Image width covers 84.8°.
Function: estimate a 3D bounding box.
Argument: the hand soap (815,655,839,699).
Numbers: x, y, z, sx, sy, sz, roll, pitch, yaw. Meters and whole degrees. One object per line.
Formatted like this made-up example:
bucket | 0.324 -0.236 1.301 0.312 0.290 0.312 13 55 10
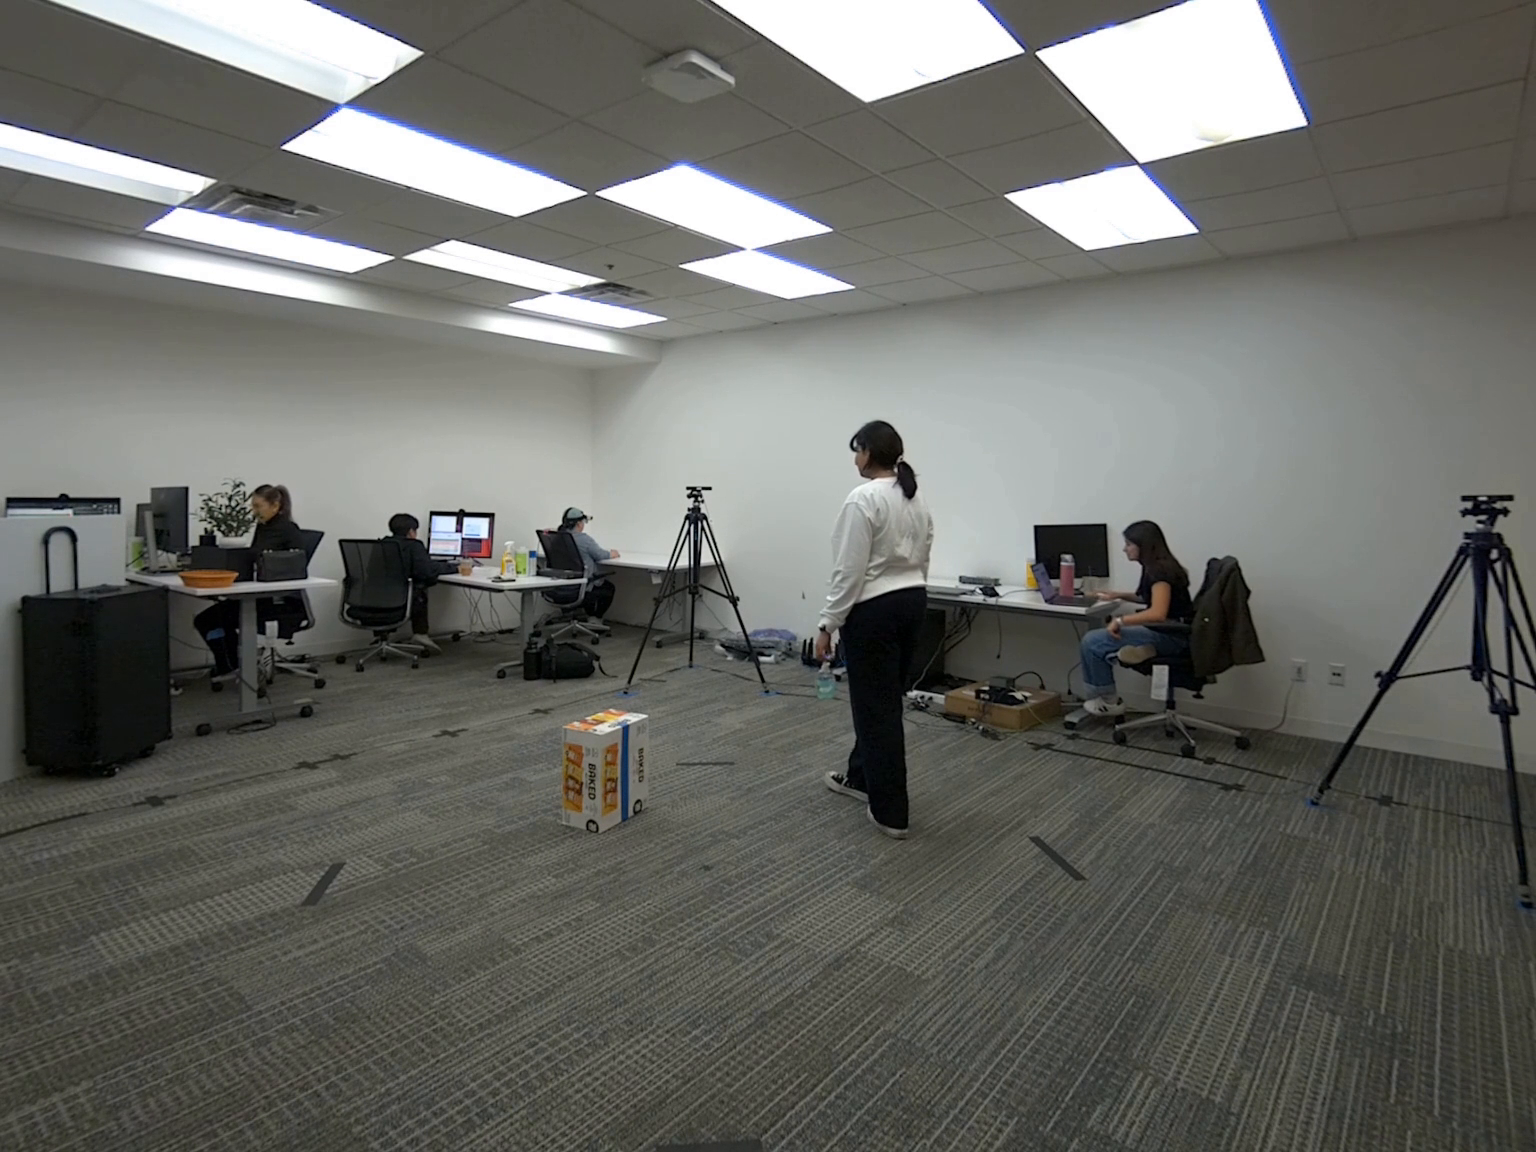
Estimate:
hand soap | 0.246 0.418 3.524 0.085 0.168 0.043 3 0 7
